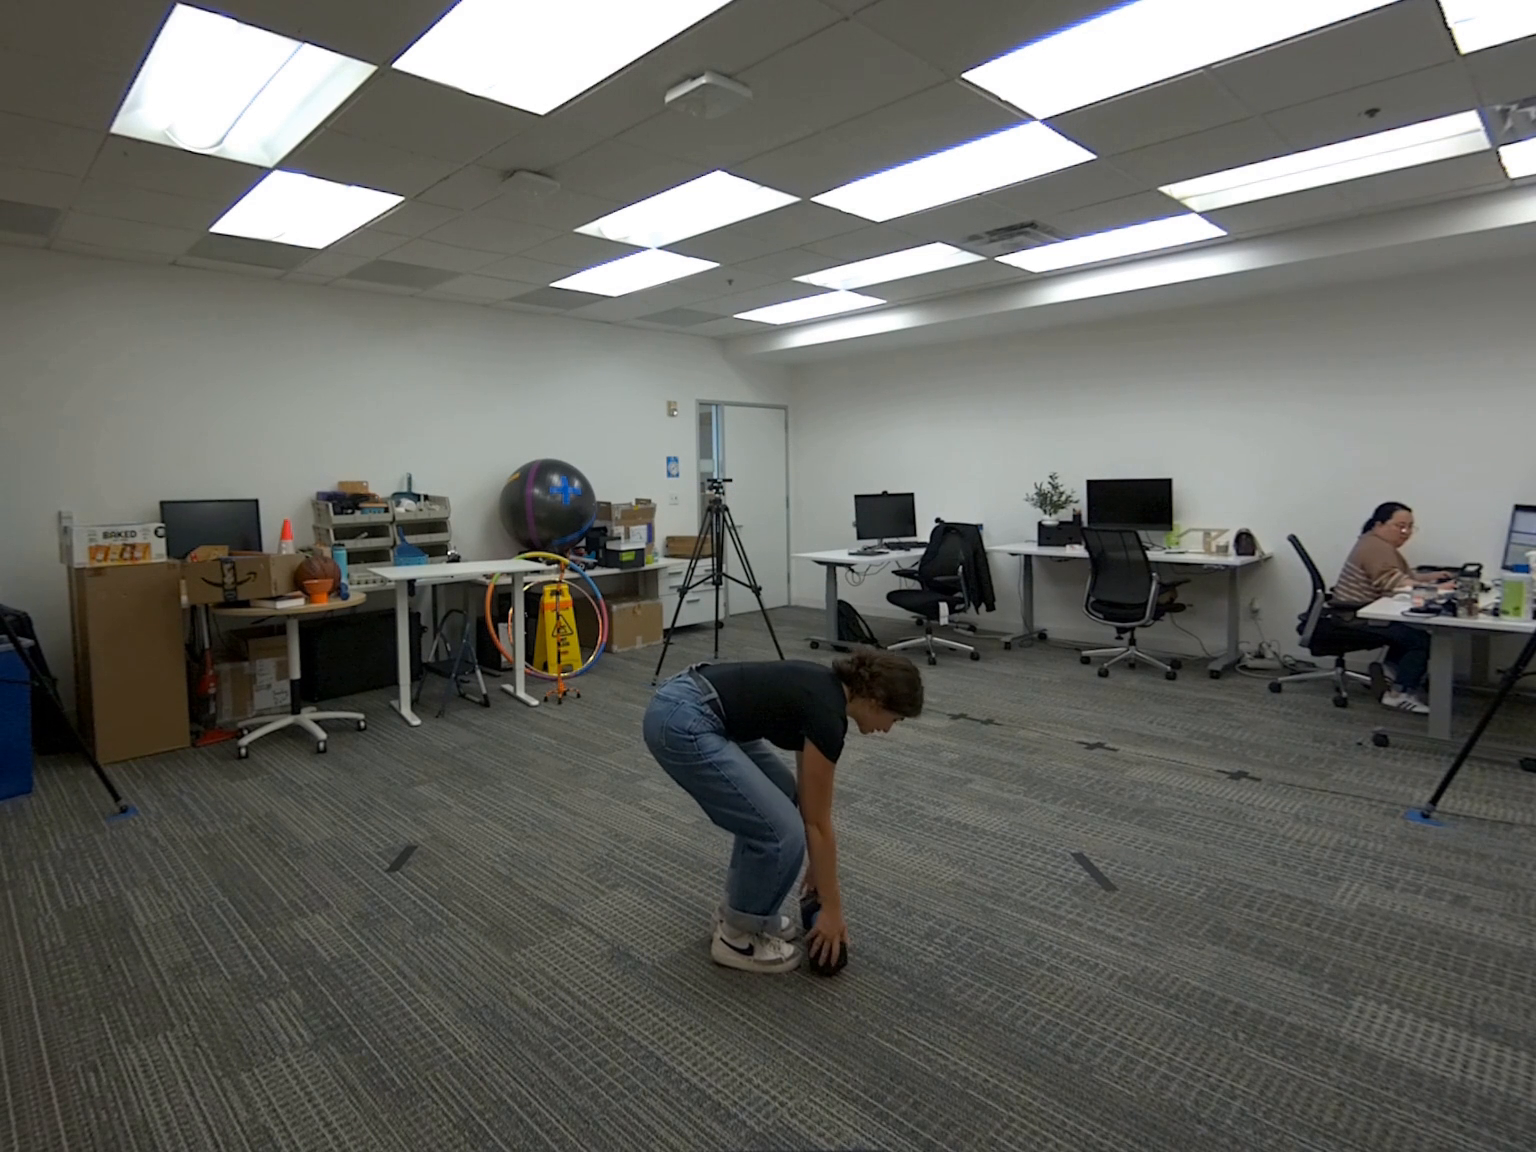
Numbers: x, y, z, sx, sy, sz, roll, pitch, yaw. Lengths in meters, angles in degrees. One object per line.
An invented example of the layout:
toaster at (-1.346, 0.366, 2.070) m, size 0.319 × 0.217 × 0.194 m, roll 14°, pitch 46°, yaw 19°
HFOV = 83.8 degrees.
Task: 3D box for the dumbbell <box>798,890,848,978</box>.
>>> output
dumbbell at (0.146, 1.052, 2.521) m, size 0.108 × 0.122 × 0.295 m, roll -13°, pitch 4°, yaw -4°
